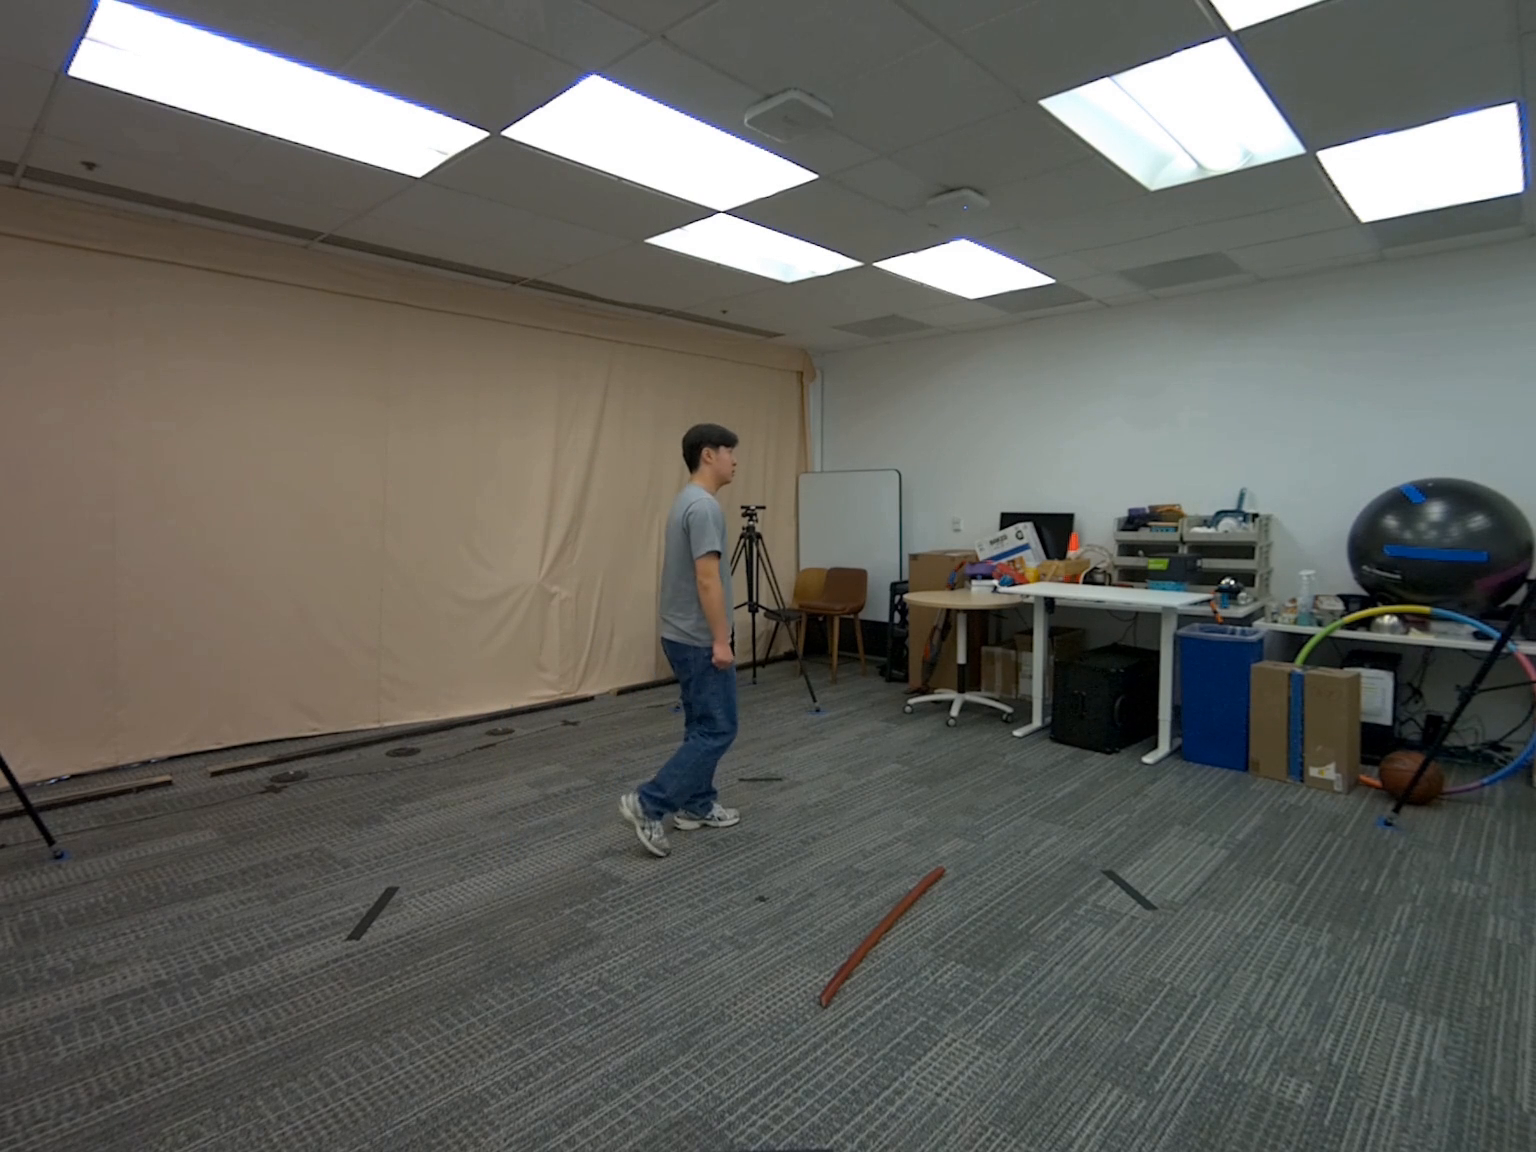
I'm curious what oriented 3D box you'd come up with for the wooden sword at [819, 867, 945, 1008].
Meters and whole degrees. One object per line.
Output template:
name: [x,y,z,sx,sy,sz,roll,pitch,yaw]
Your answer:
wooden sword: [0.389,1.138,2.761,0.052,0.024,0.997,-24,-7,30]
